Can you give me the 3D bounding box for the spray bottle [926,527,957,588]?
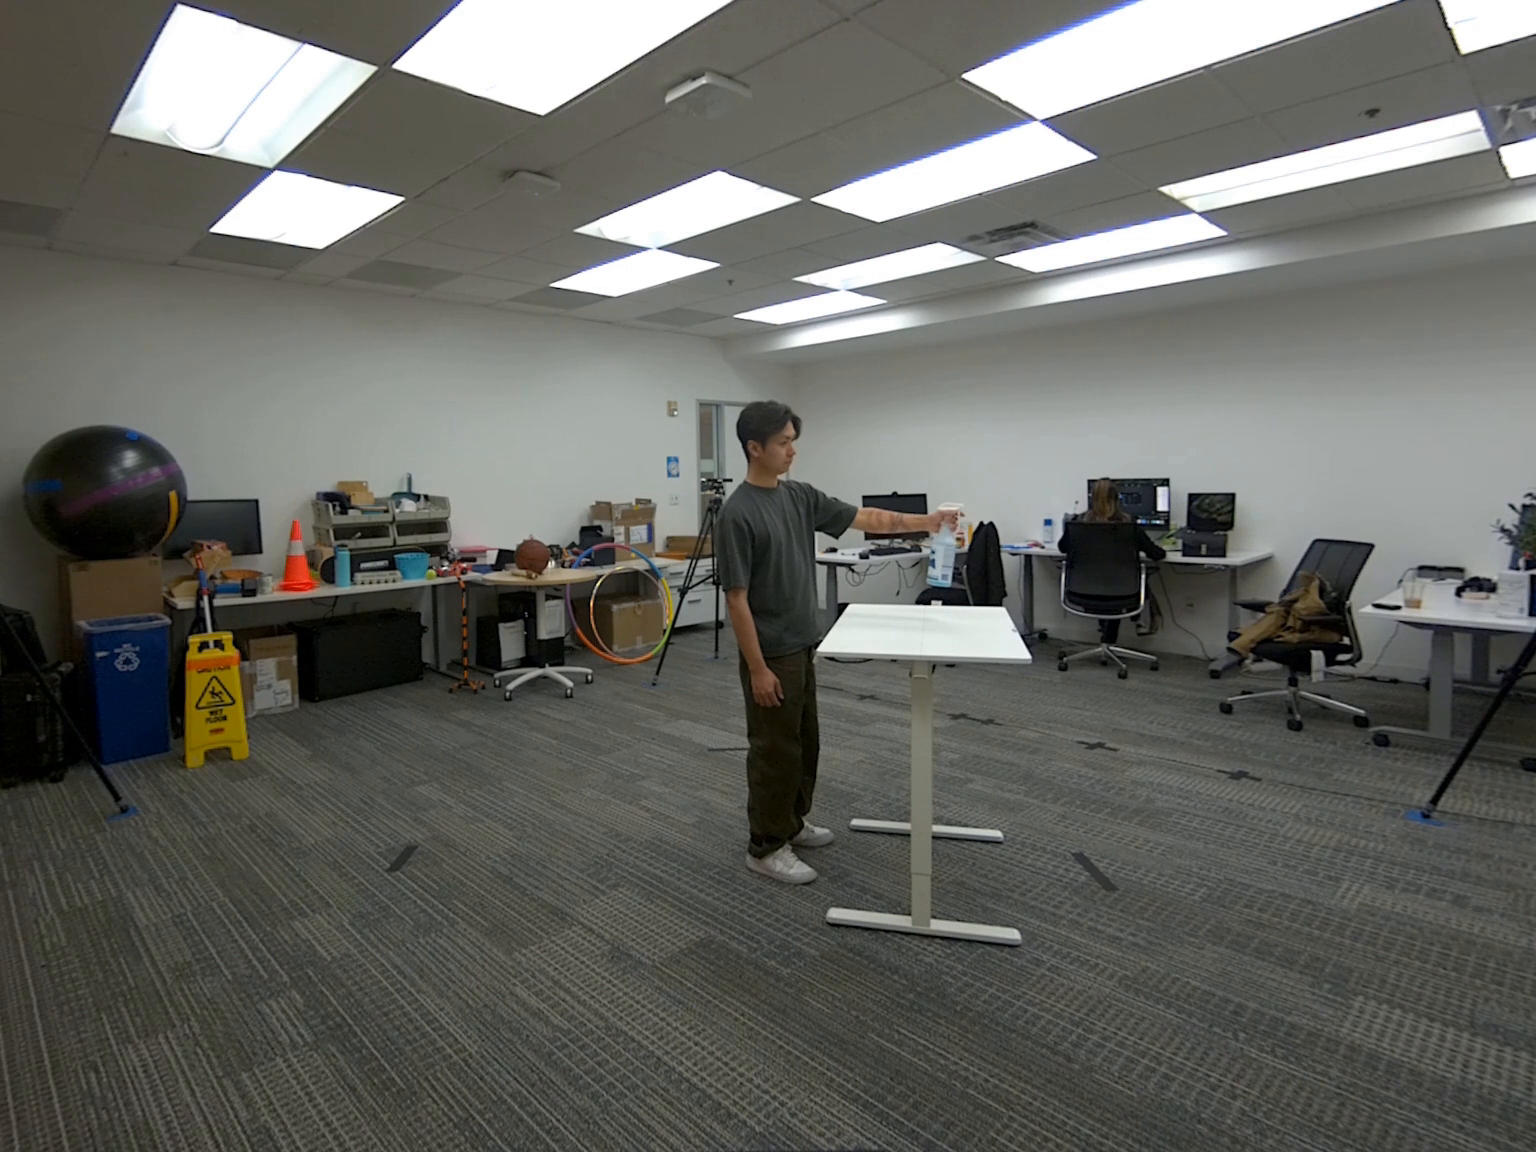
[{"bbox_3d":[0.627,-0.112,3.036,0.084,0.296,0.093,3,6,-41],"label":"spray bottle"}]
